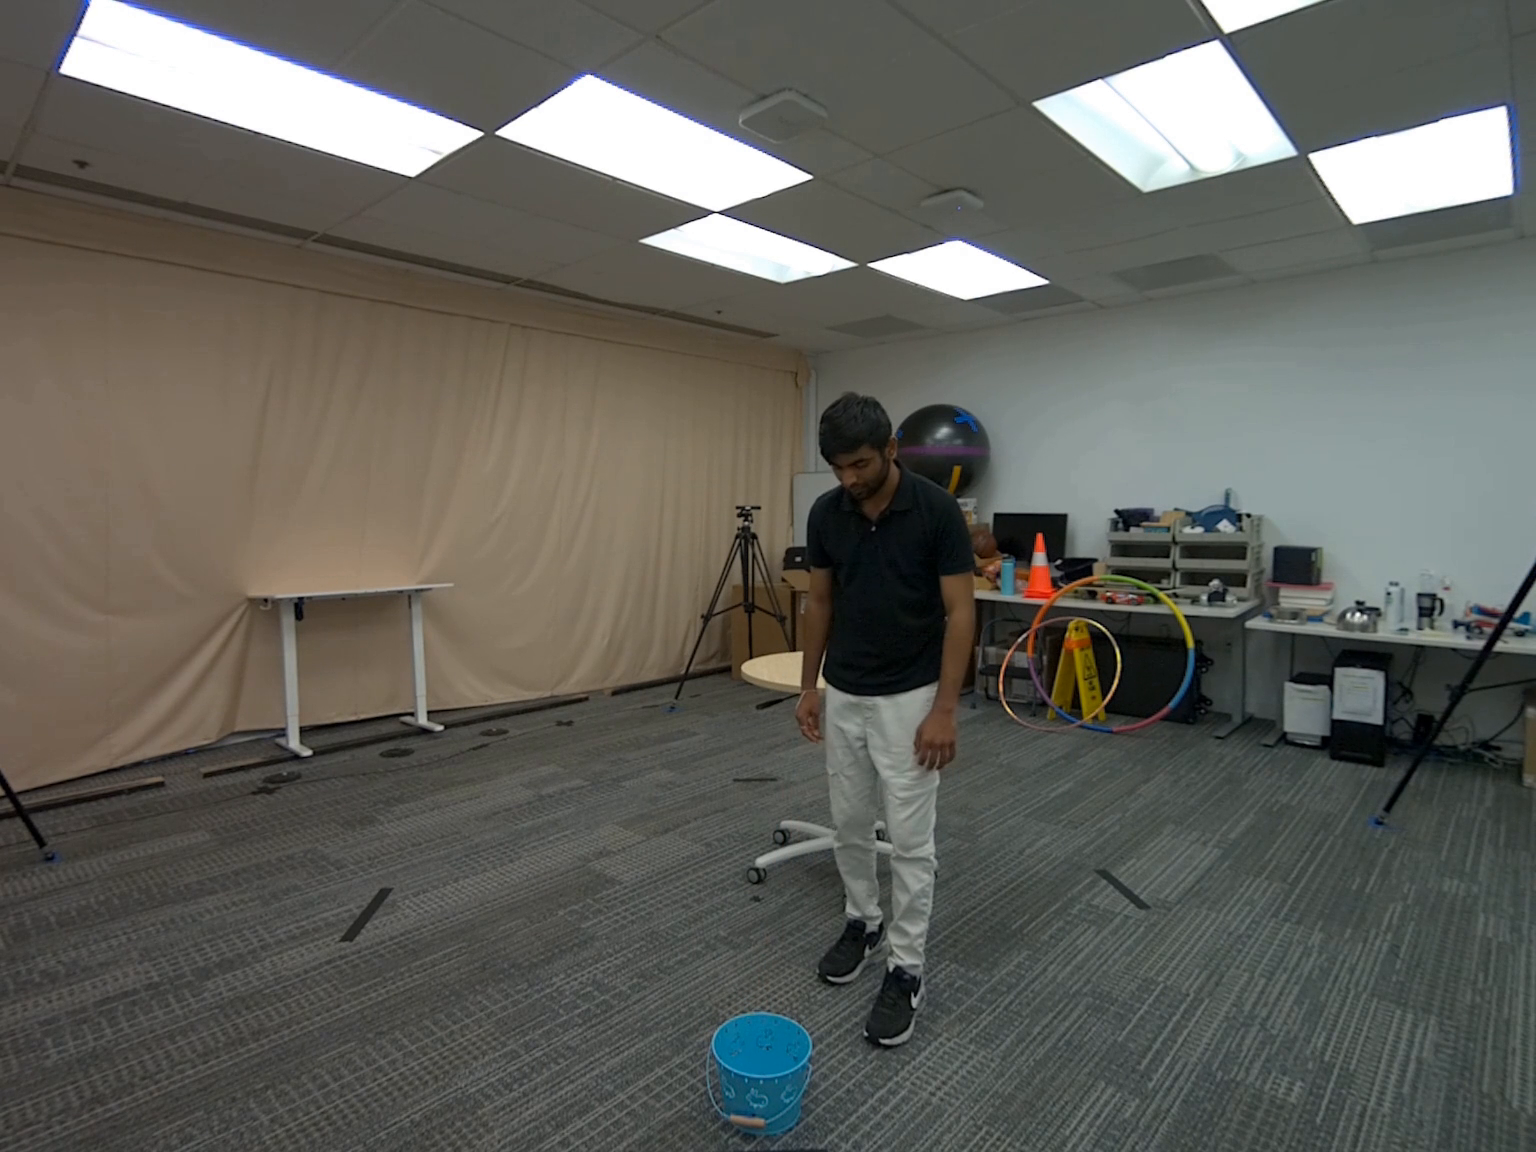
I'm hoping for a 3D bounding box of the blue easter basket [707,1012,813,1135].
[{"bbox_3d":[-0.015,1.155,1.945,0.243,0.155,0.244,0,4,-2],"label":"blue easter basket"}]
